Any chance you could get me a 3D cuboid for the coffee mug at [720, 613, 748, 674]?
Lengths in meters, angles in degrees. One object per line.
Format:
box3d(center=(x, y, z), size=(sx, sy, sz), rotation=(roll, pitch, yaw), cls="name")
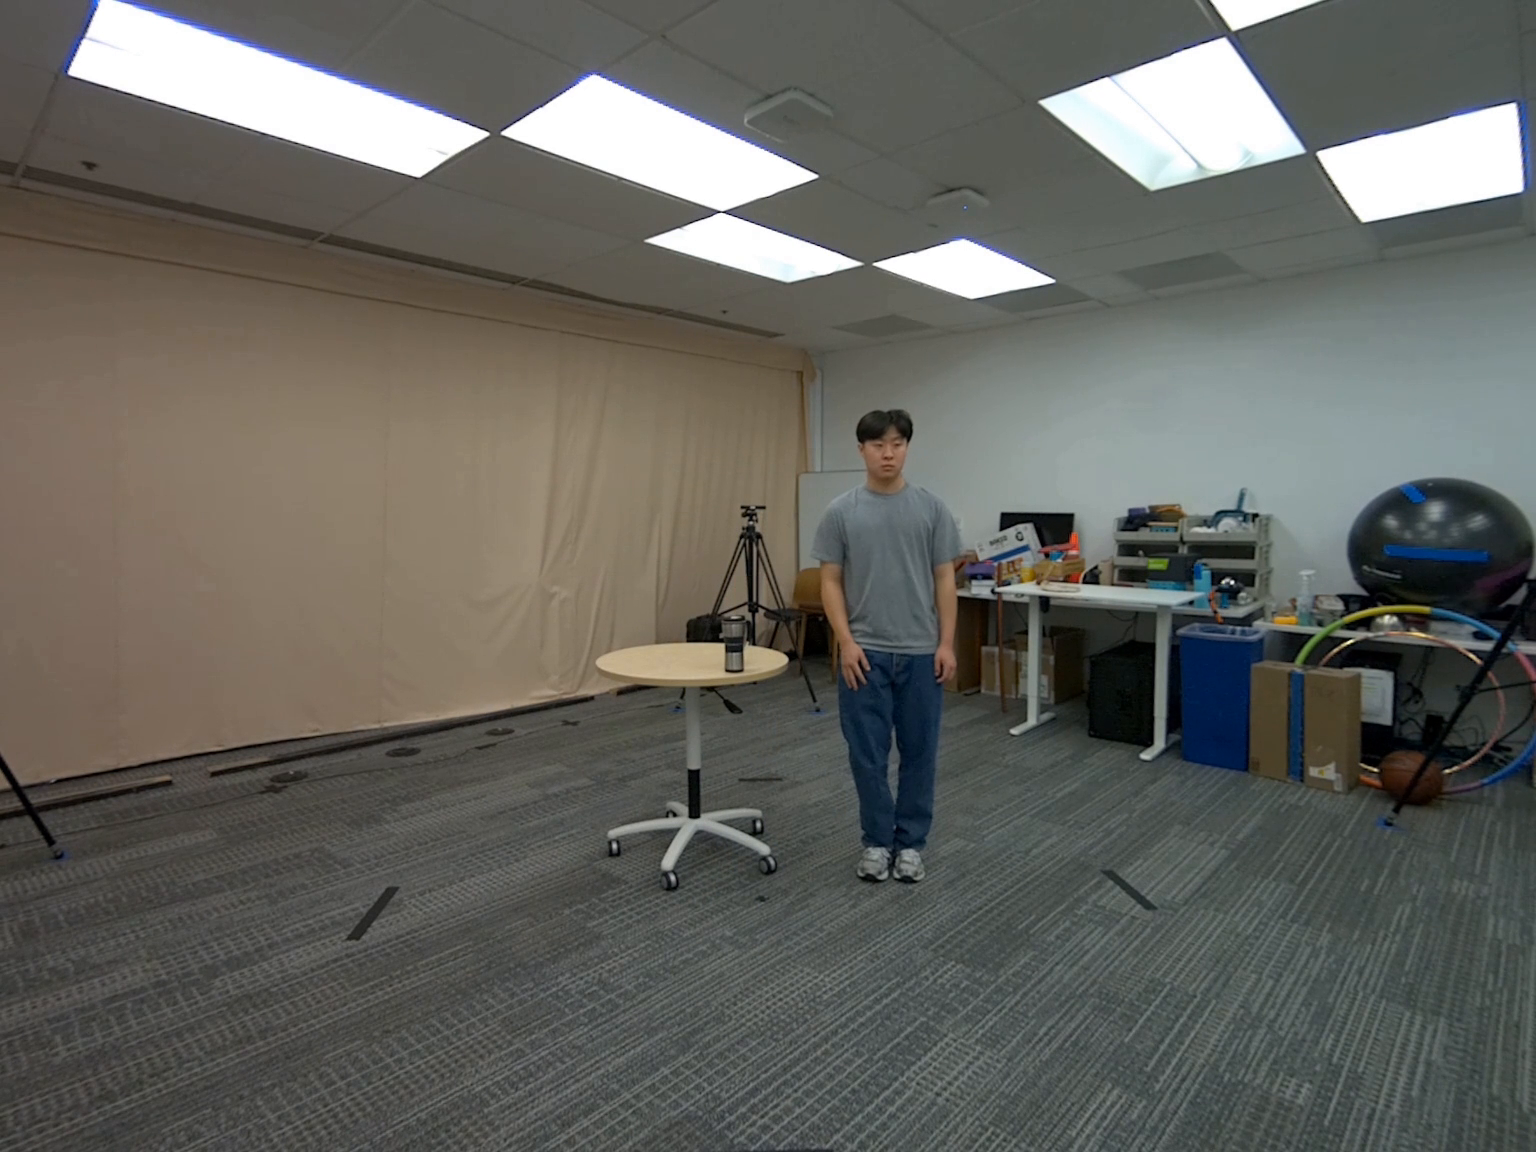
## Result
box3d(center=(-0.102, 0.253, 3.111), size=(0.119, 0.203, 0.090), rotation=(-5, 2, -24), cls="coffee mug")
